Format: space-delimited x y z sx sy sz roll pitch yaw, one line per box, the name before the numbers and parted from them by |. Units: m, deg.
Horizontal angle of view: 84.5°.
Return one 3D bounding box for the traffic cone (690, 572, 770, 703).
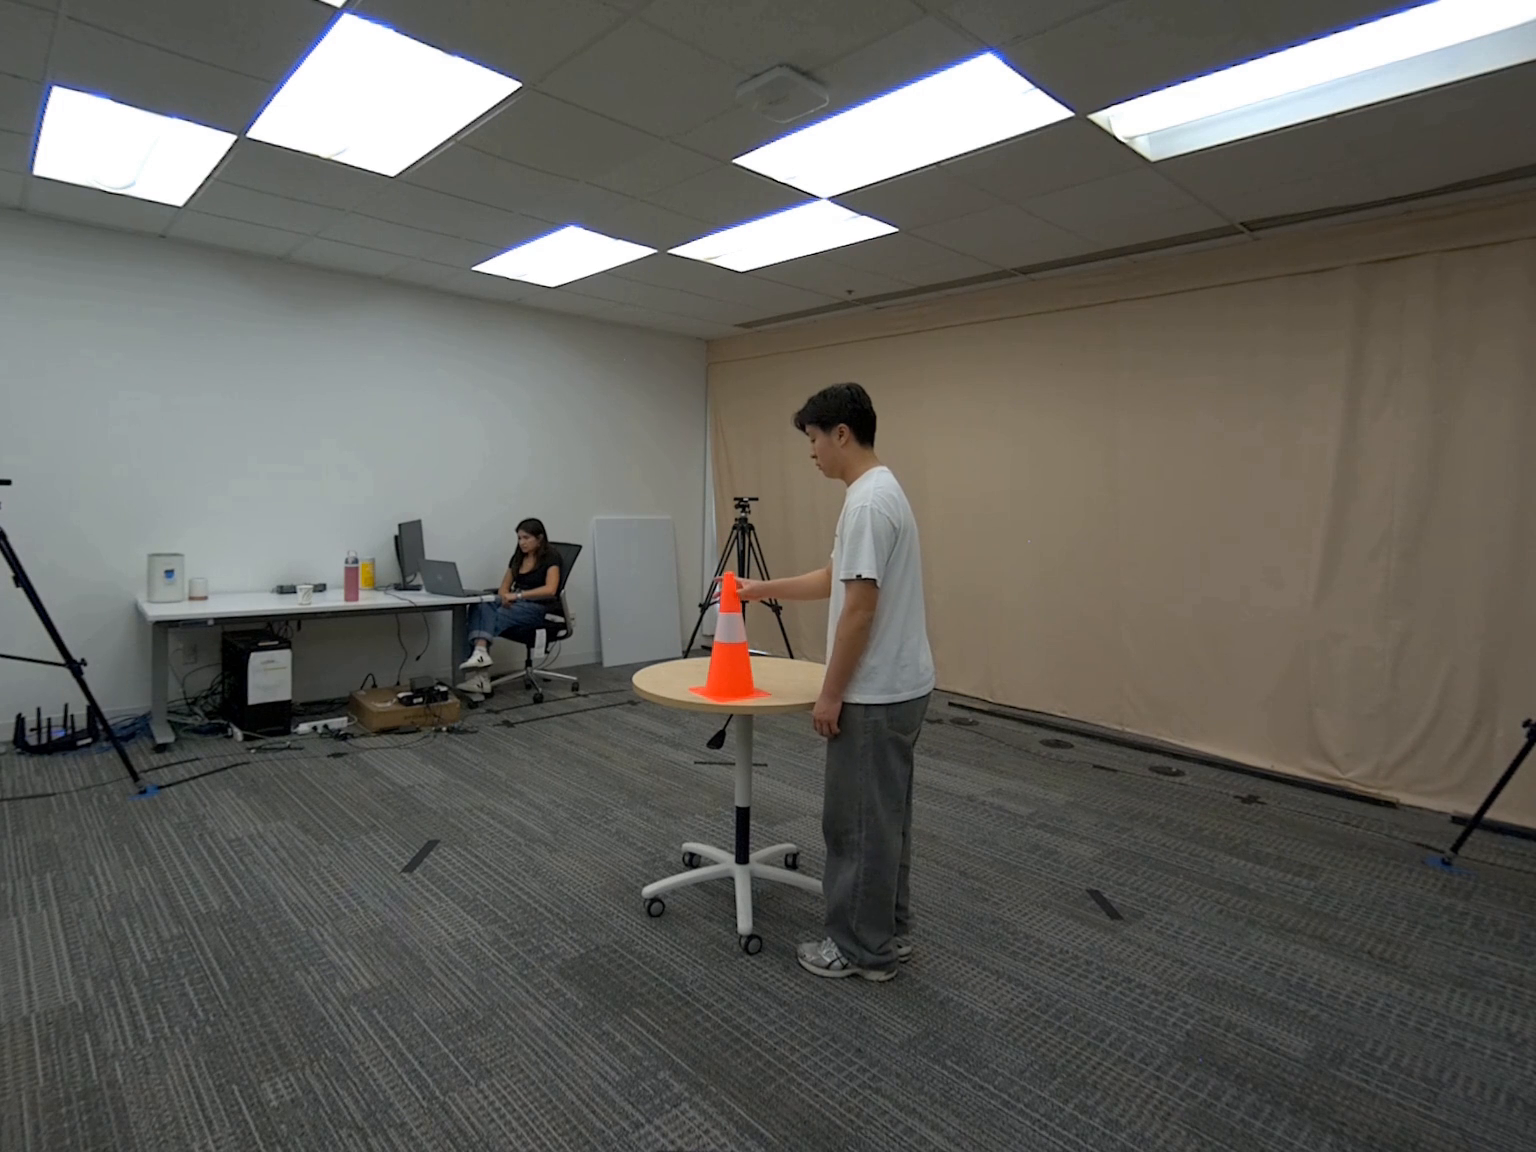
traffic cone | -0.123 0.183 2.635 0.210 0.383 0.199 3 4 44
